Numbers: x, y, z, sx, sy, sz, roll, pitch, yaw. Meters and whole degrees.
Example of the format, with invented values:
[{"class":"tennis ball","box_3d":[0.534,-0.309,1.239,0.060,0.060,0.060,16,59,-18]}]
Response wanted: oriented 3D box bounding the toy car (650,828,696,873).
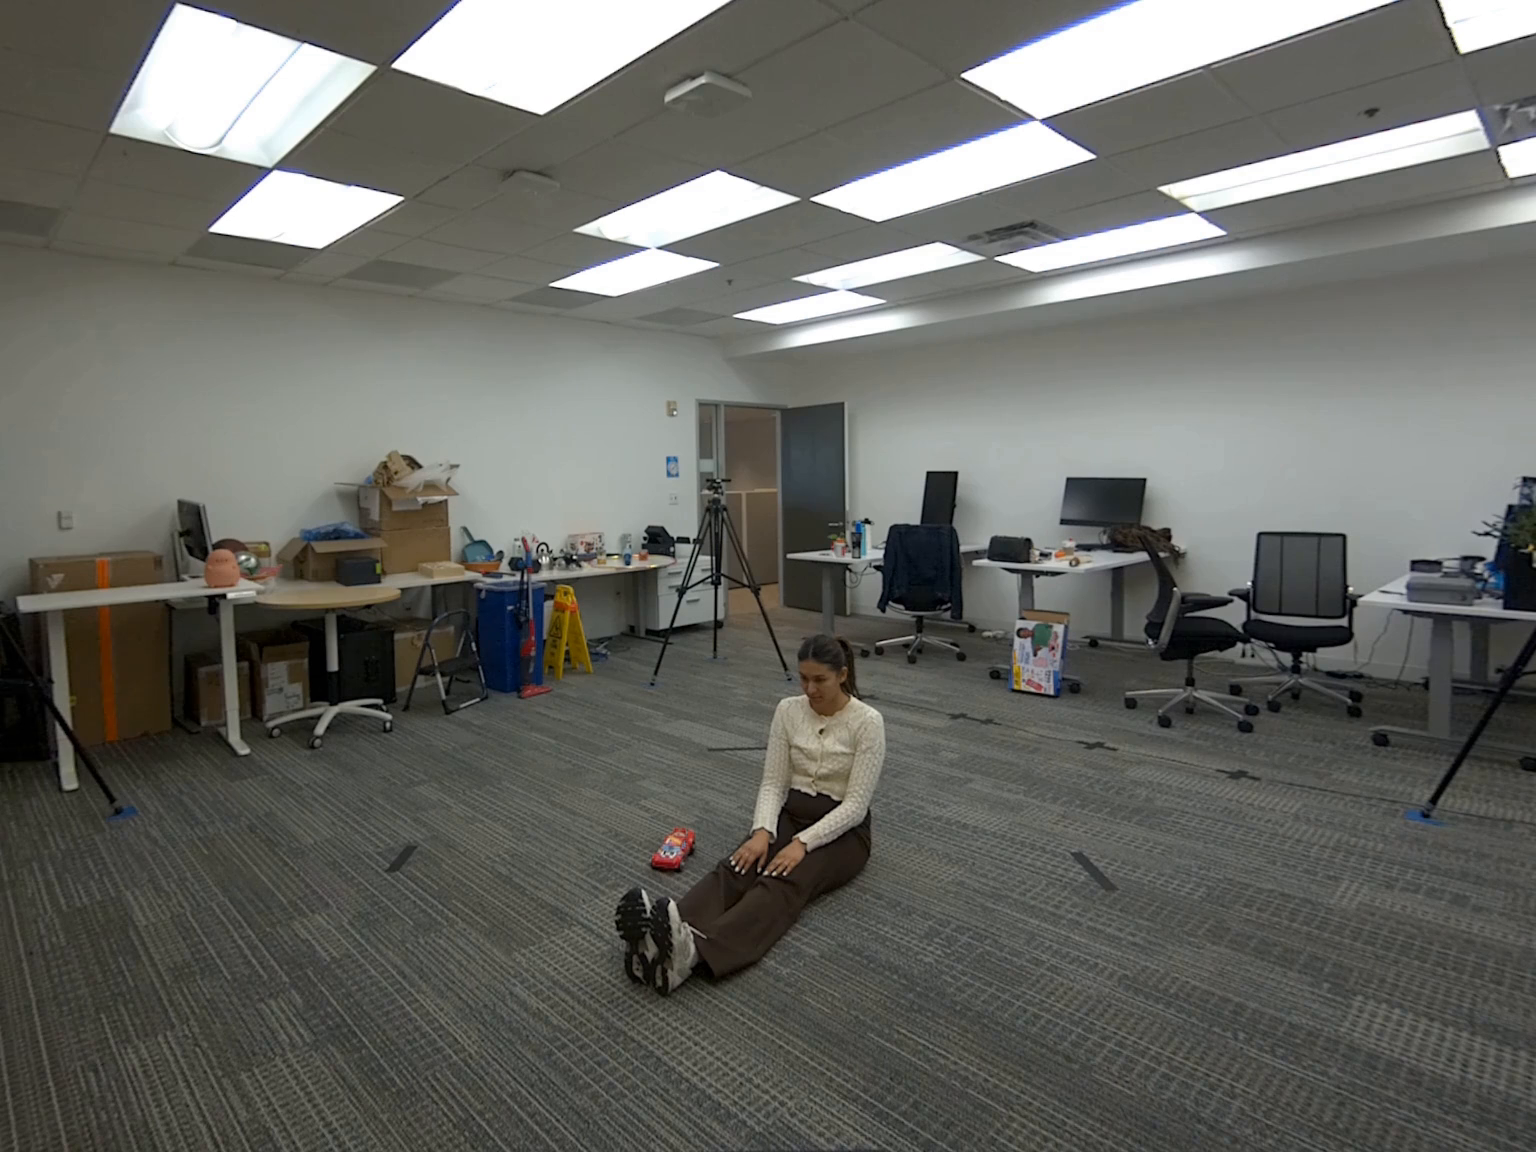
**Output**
[{"class":"toy car","box_3d":[-0.337,1.008,3.164,0.132,0.082,0.255,0,18,11]}]
